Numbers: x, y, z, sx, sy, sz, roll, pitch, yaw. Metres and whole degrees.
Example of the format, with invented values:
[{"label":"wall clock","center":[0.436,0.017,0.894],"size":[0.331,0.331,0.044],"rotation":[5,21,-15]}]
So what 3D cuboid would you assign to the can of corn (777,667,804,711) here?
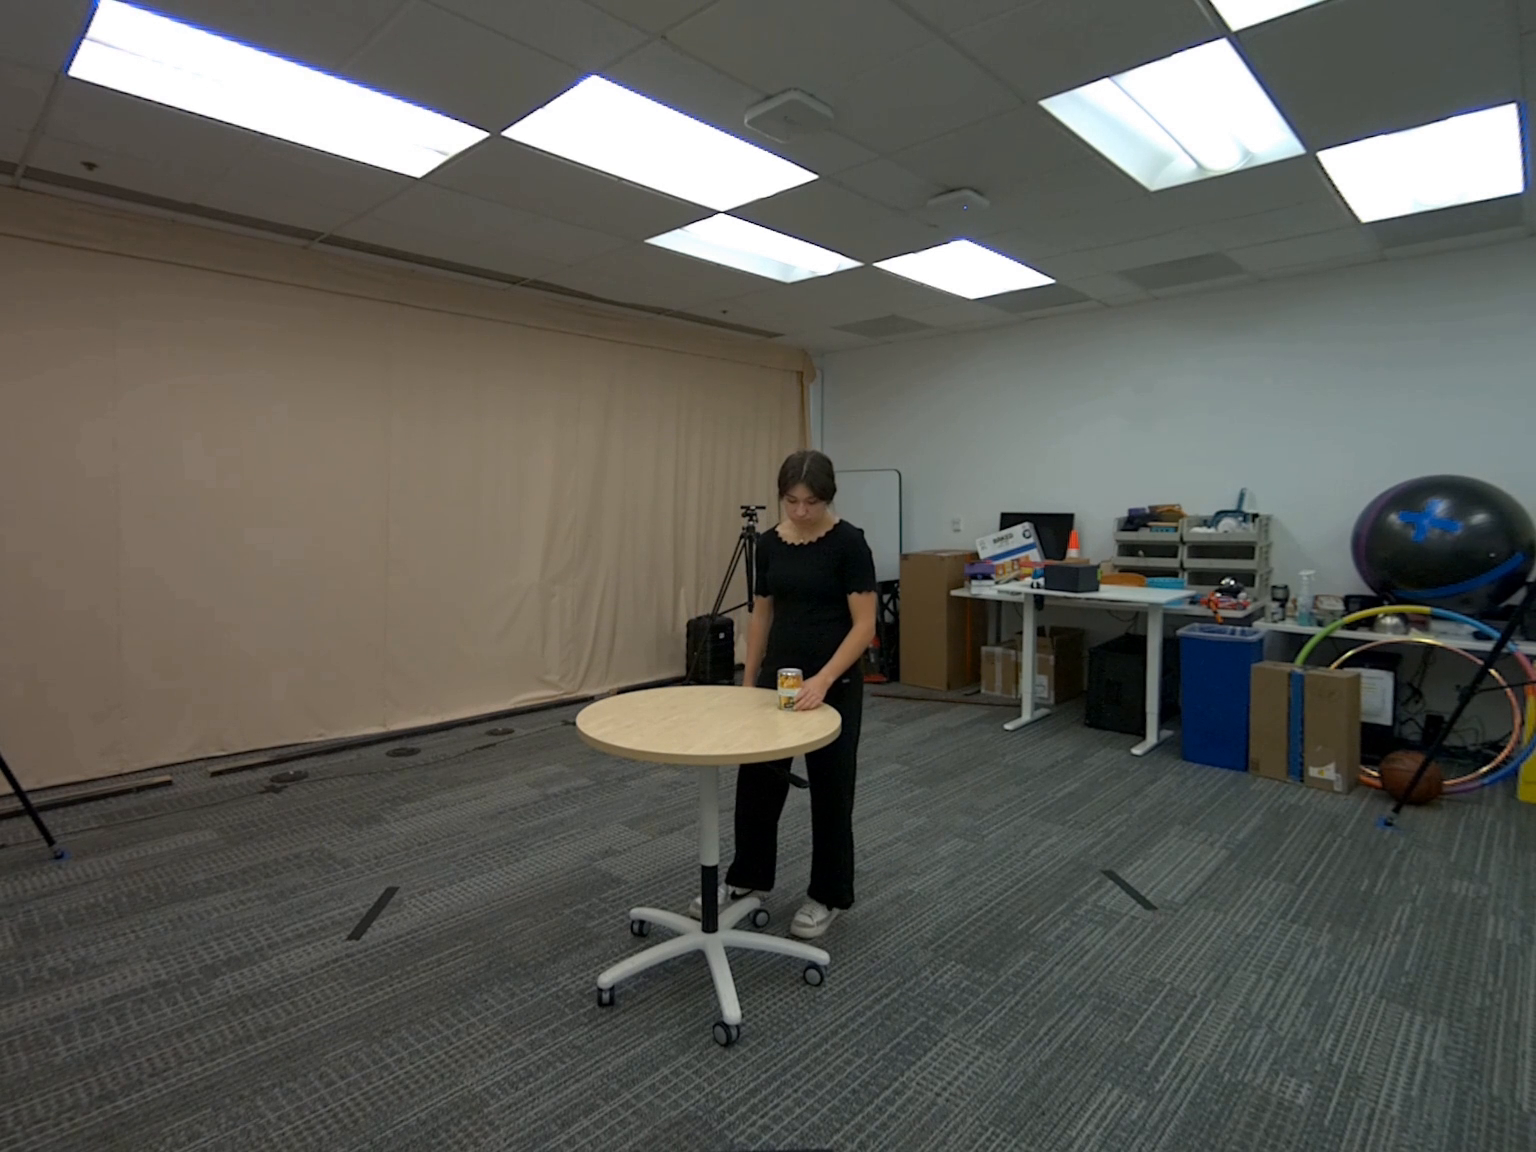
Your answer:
[{"label":"can of corn","center":[0.072,0.341,2.532],"size":[0.074,0.111,0.074],"rotation":[1,4,-2]}]
